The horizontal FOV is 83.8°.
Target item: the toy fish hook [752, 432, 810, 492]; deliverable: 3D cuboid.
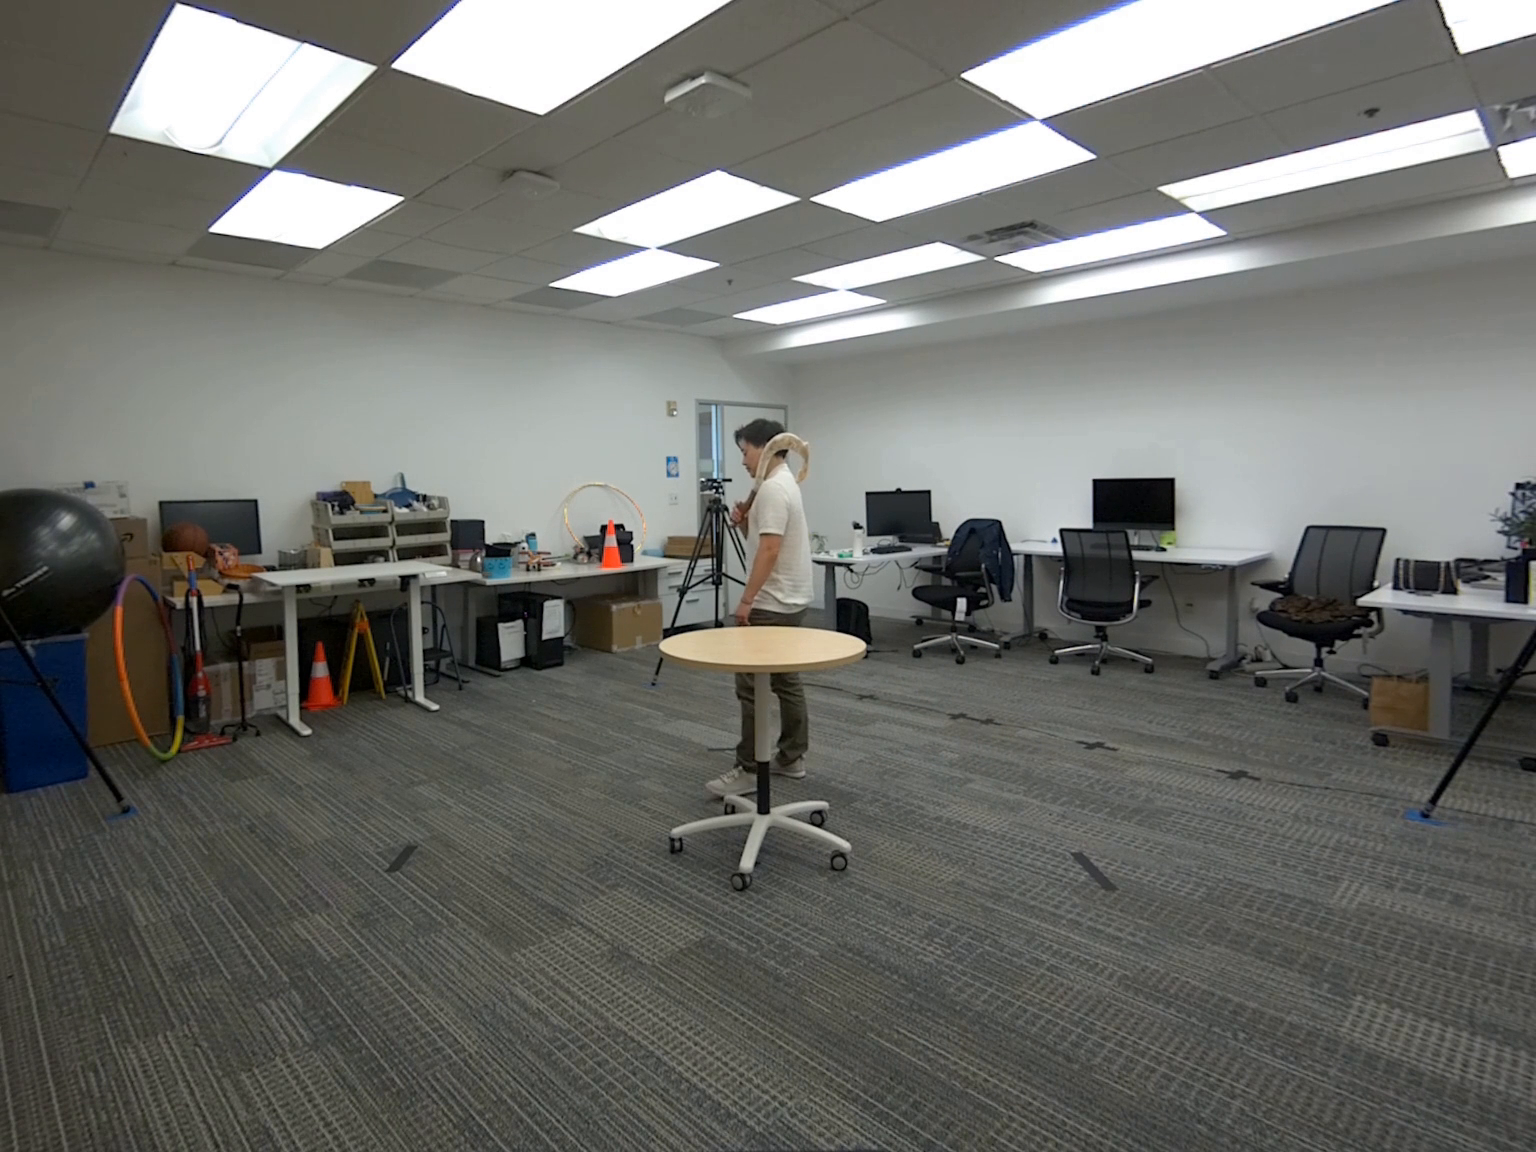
[{"bbox_3d":[0.008,-0.409,3.890,0.223,0.504,0.049,31,16,-5],"label":"toy fish hook"}]
